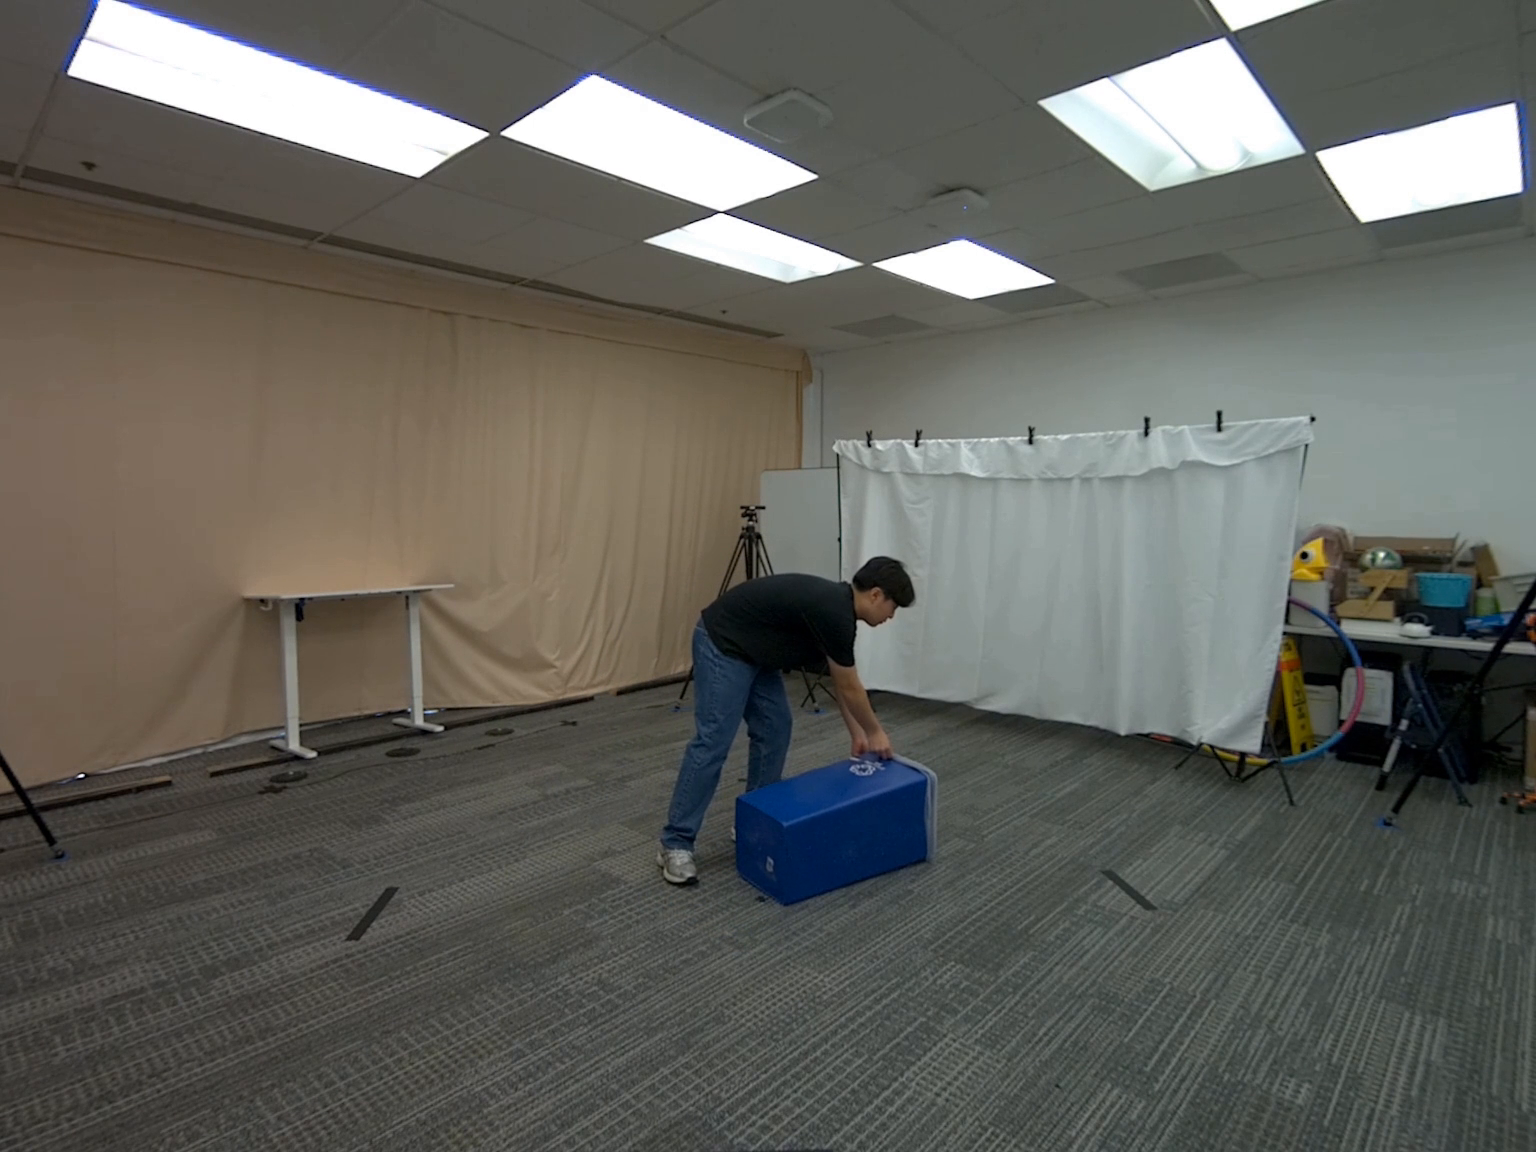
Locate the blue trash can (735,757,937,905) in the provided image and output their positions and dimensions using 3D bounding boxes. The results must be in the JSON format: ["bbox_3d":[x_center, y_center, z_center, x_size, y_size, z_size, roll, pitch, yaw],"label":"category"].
[{"bbox_3d":[0.269,0.956,3.207,0.694,0.376,0.386,-8,11,-35],"label":"blue trash can"}]
